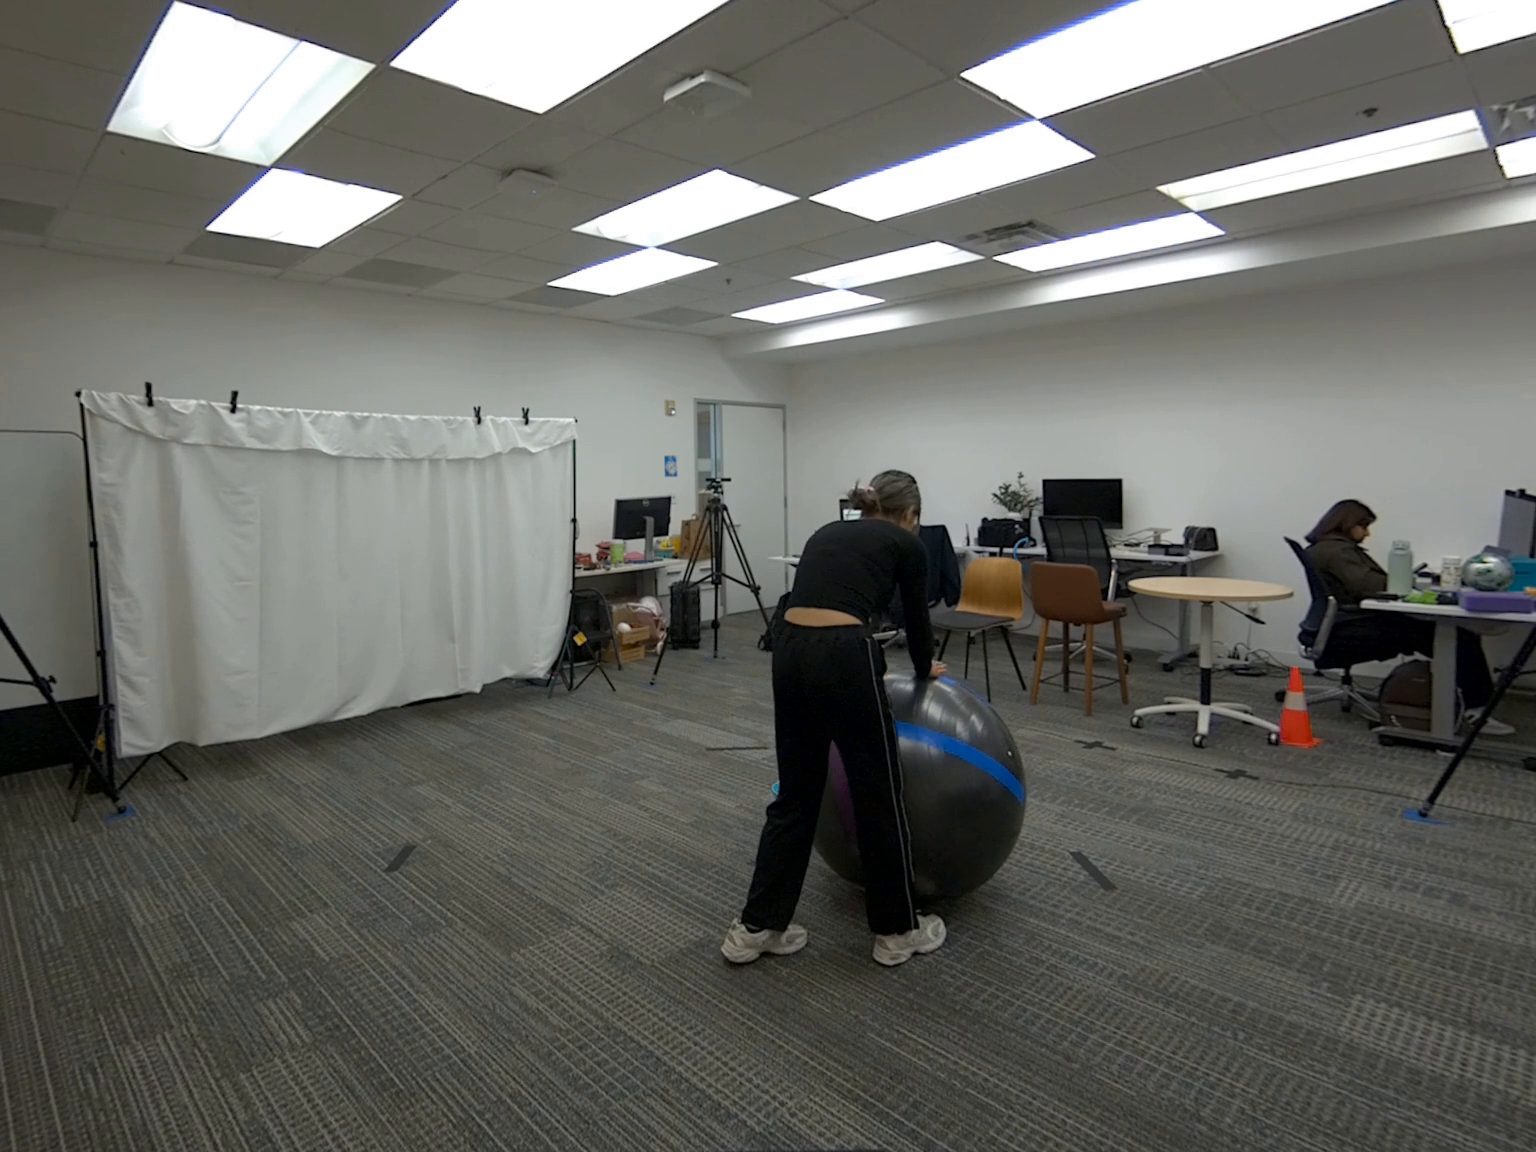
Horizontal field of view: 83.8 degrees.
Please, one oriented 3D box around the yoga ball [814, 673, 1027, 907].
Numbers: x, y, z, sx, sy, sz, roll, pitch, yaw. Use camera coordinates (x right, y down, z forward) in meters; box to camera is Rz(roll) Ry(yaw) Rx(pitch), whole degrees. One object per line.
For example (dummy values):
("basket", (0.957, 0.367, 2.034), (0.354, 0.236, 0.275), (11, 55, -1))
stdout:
("yoga ball", (0.475, 0.694, 2.877), (0.757, 0.755, 0.762), (-1, 5, -2))
